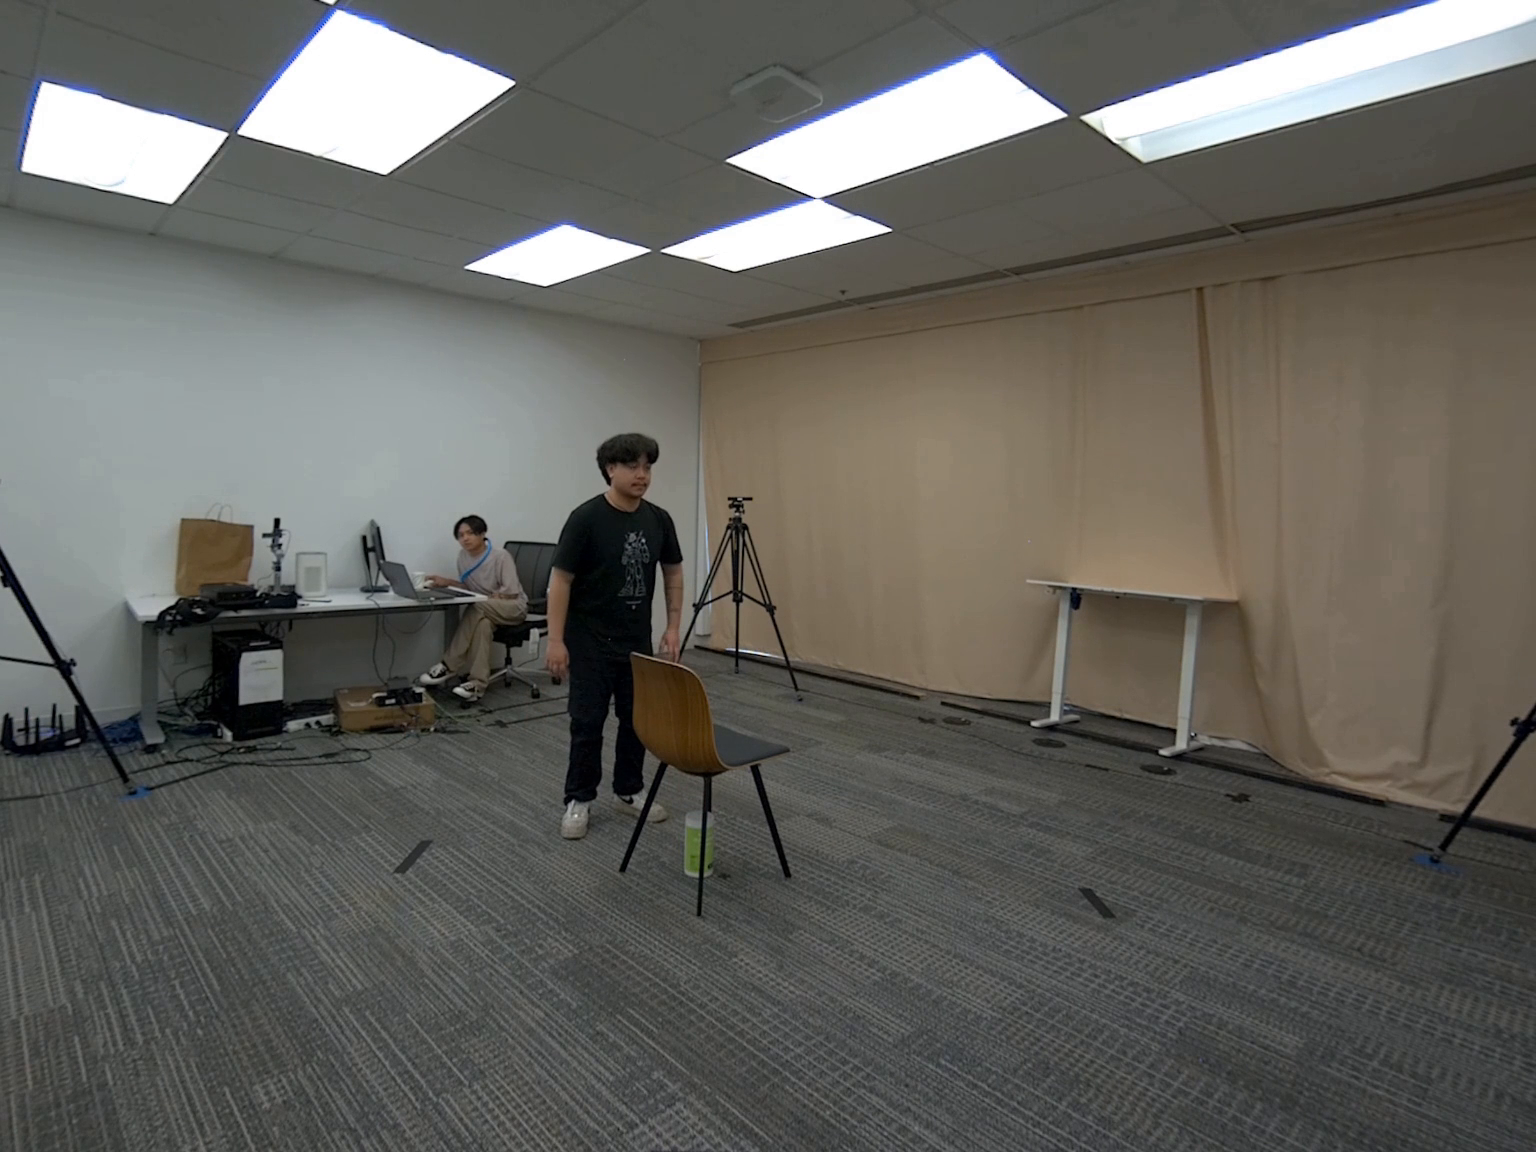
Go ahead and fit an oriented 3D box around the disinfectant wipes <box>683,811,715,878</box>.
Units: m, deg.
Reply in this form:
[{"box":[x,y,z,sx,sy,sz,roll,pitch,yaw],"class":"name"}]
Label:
[{"box":[-0.270,1.010,3.116,0.118,0.217,0.118,0,5,-1],"class":"disinfectant wipes"}]
